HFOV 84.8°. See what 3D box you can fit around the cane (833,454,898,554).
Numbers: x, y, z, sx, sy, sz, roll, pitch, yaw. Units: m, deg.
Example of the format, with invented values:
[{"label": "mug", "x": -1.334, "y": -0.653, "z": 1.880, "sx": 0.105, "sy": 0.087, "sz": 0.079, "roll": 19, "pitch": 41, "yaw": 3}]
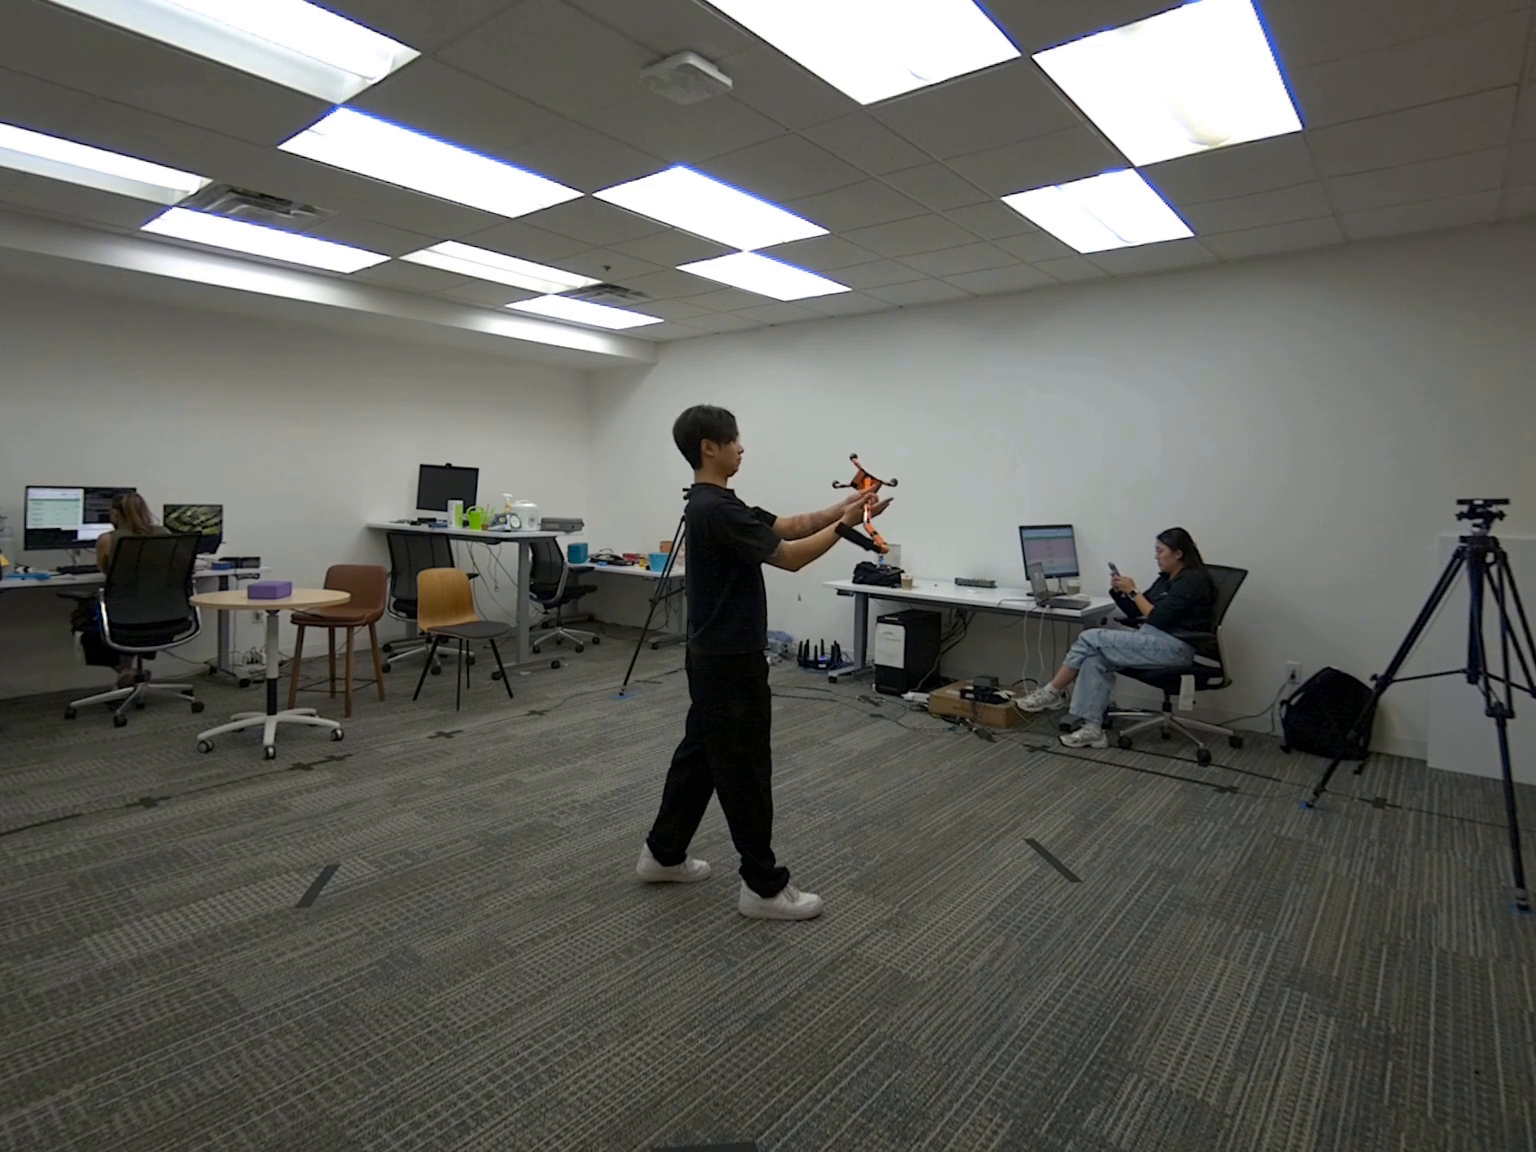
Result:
[{"label": "cane", "x": 0.304, "y": -0.210, "z": 2.751, "sx": 0.206, "sy": 0.151, "sz": 0.913, "roll": 32, "pitch": 18, "yaw": -3}]
